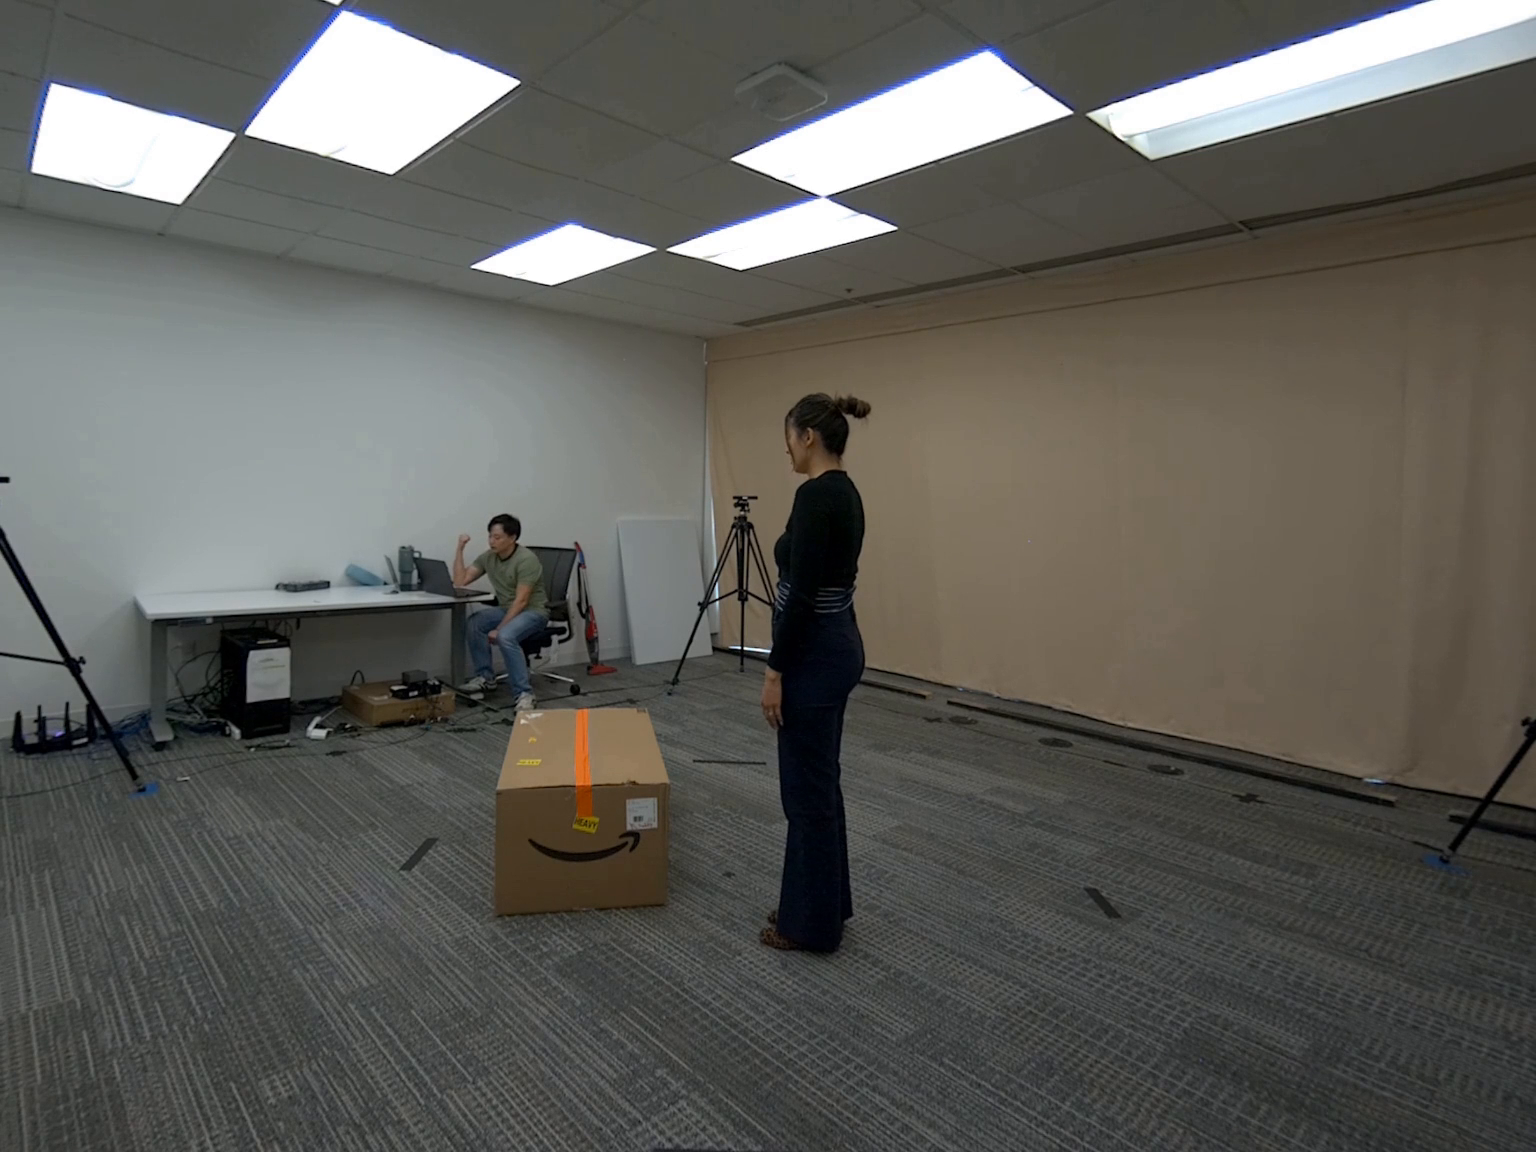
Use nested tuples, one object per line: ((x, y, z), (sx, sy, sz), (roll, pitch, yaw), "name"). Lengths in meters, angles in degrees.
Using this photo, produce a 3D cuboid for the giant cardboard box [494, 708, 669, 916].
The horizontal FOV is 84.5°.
((-0.732, 0.856, 3.301), (0.572, 0.425, 1.038), (0, 5, -12), "giant cardboard box")
